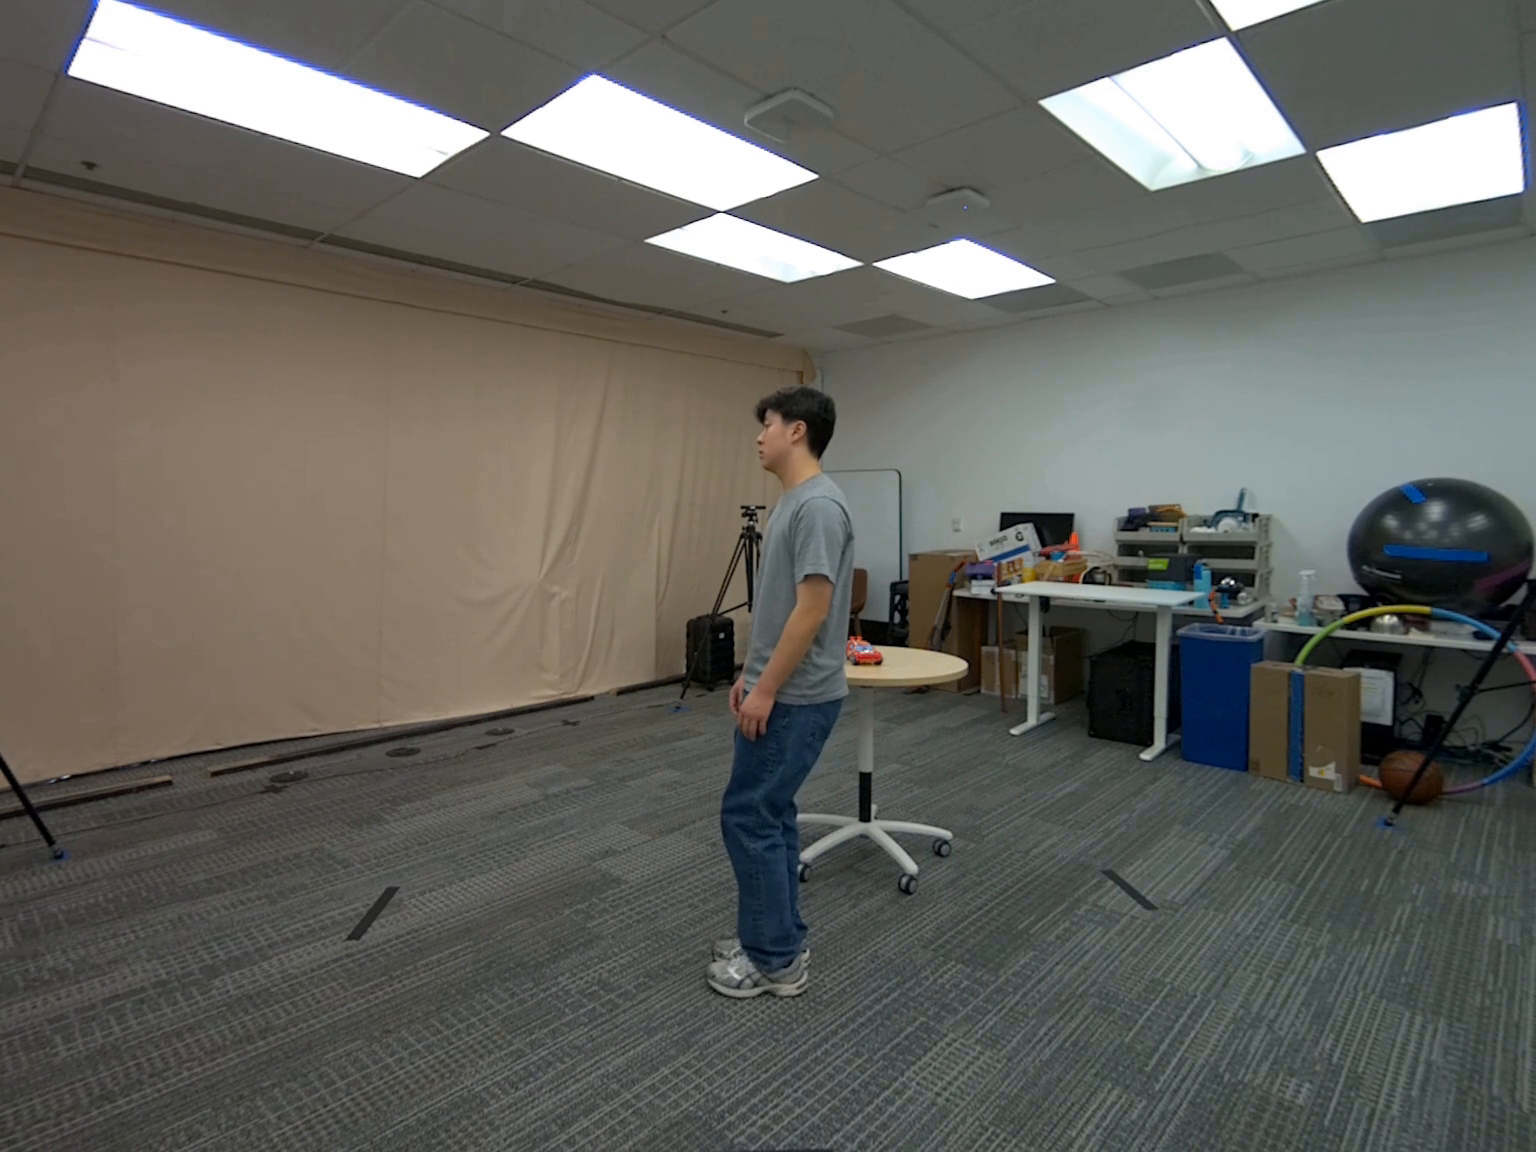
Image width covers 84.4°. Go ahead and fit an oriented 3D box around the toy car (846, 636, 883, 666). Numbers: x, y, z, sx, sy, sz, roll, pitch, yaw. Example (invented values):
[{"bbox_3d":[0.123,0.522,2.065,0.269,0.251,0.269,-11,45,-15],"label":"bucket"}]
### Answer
[{"bbox_3d":[0.371,0.302,3.300,0.129,0.082,0.258,-1,14,-8],"label":"toy car"}]
